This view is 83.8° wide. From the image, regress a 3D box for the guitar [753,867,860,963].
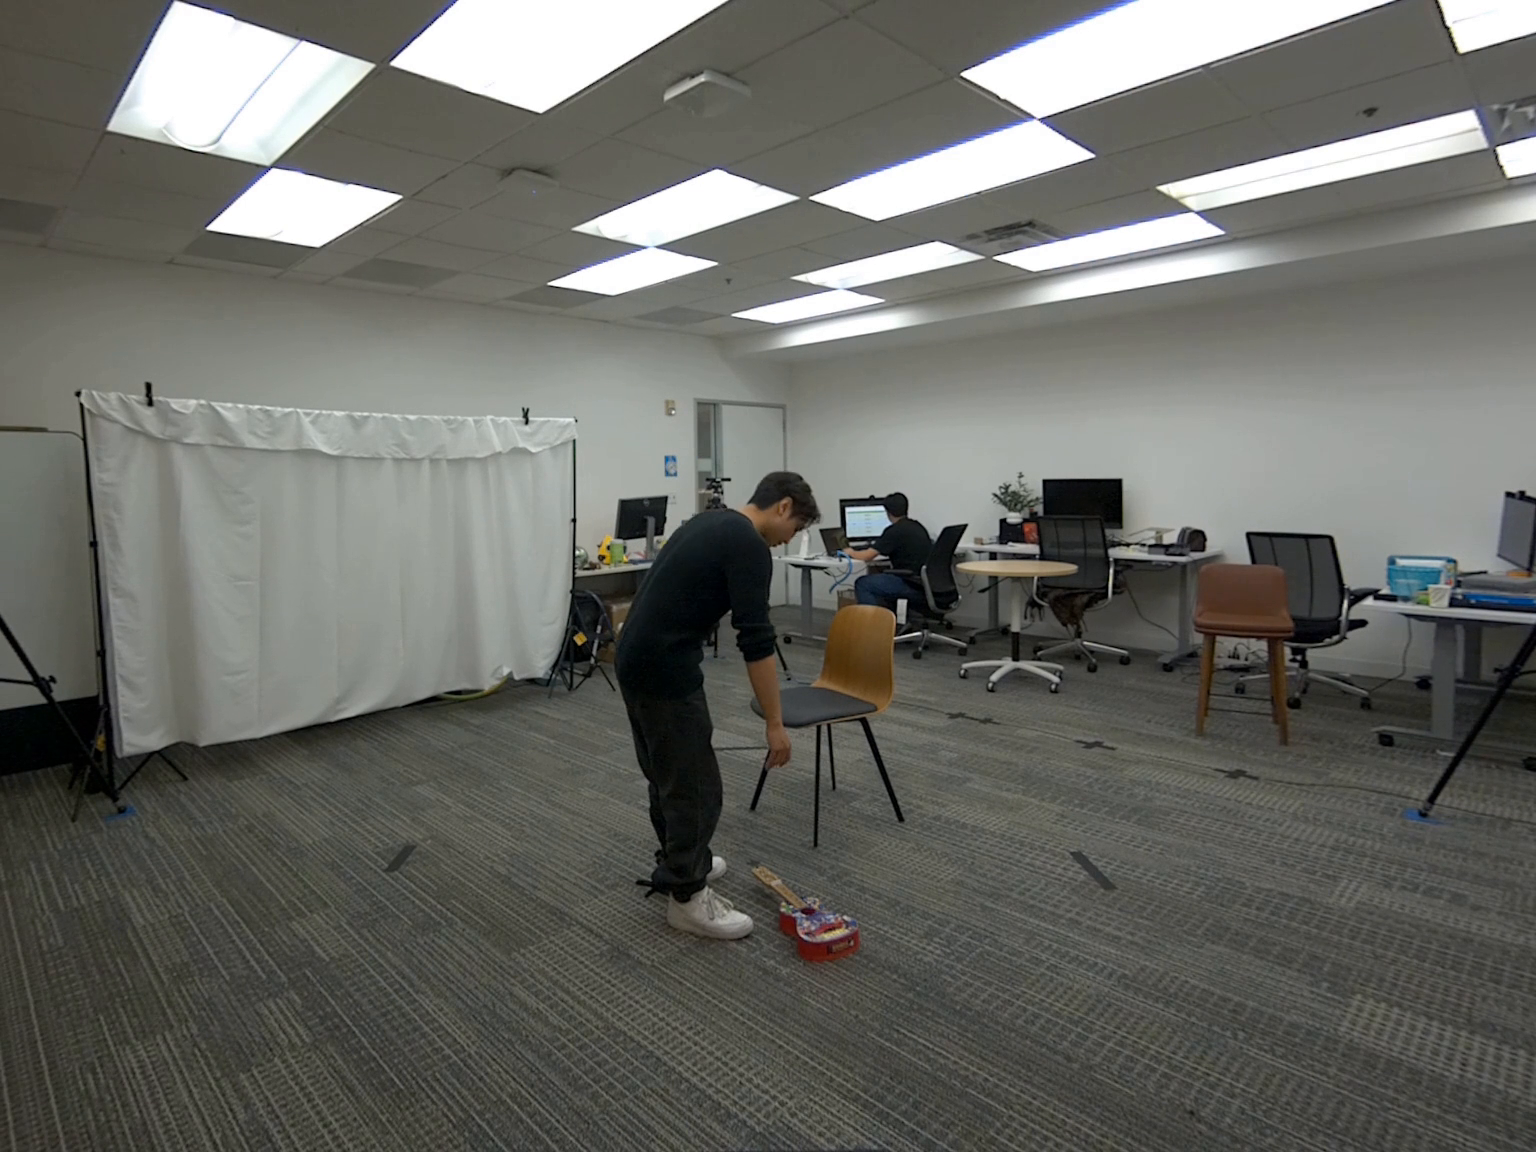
[{"bbox_3d":[0.112,1.045,2.710,0.190,0.070,0.509,-3,8,-20],"label":"guitar"}]
